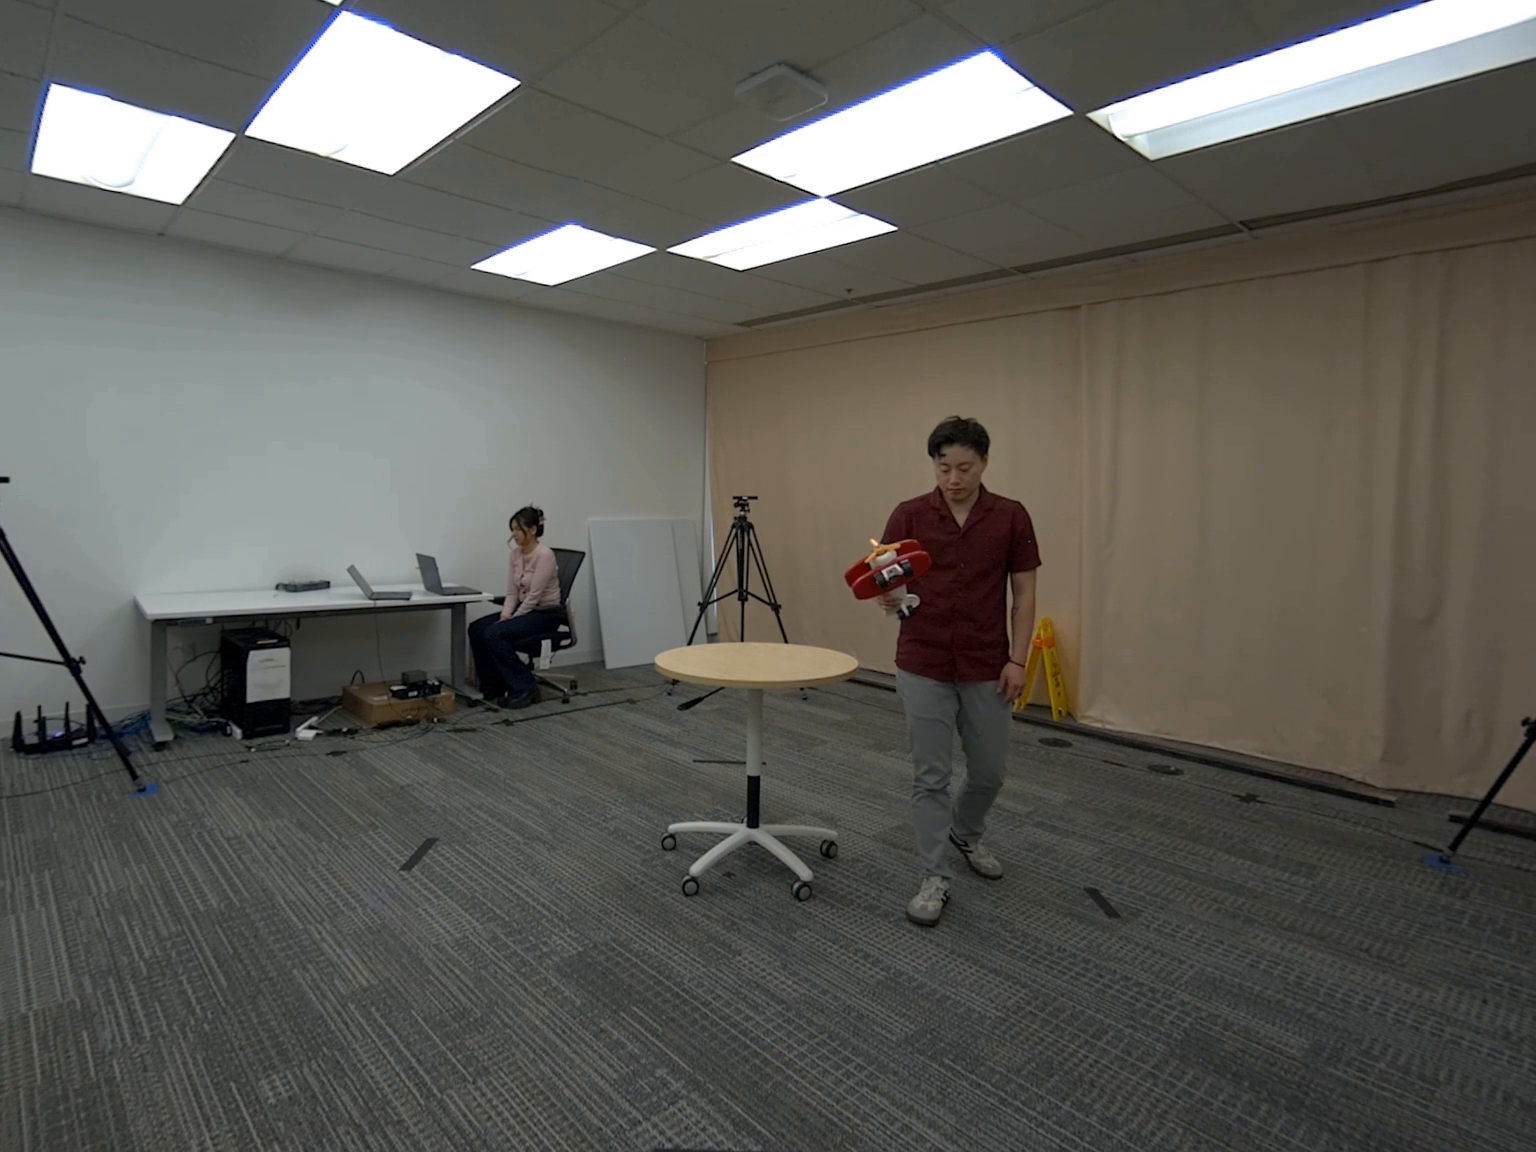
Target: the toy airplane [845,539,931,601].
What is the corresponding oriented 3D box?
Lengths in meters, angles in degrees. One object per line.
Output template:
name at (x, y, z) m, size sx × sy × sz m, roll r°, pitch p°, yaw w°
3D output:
toy airplane at (0.364, 0.028, 2.605) m, size 0.248 × 0.255 × 0.161 m, roll -5°, pitch 43°, yaw -18°
